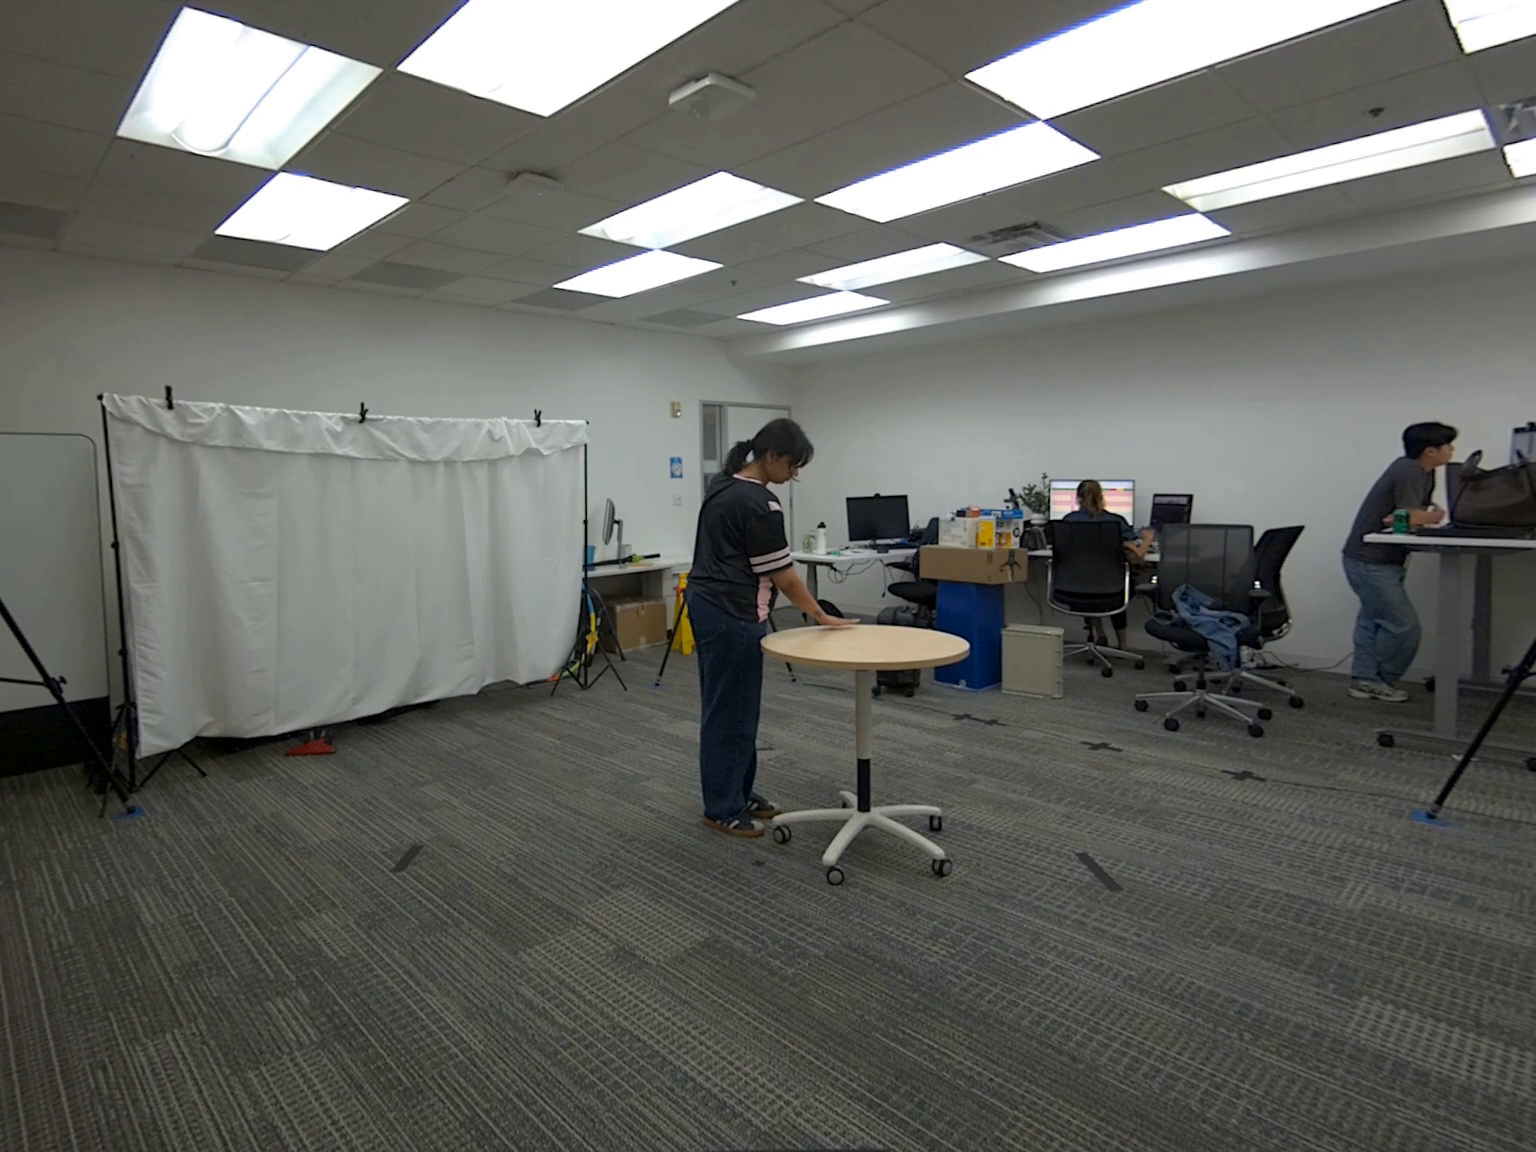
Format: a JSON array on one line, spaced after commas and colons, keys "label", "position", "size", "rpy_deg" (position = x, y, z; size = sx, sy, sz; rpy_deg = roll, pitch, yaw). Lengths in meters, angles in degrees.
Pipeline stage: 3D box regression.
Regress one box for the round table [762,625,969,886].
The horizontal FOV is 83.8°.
[{"label": "round table", "position": [0.371, 0.635, 3.224], "size": [0.784, 0.784, 0.789], "rpy_deg": [-1, 5, -2]}]
